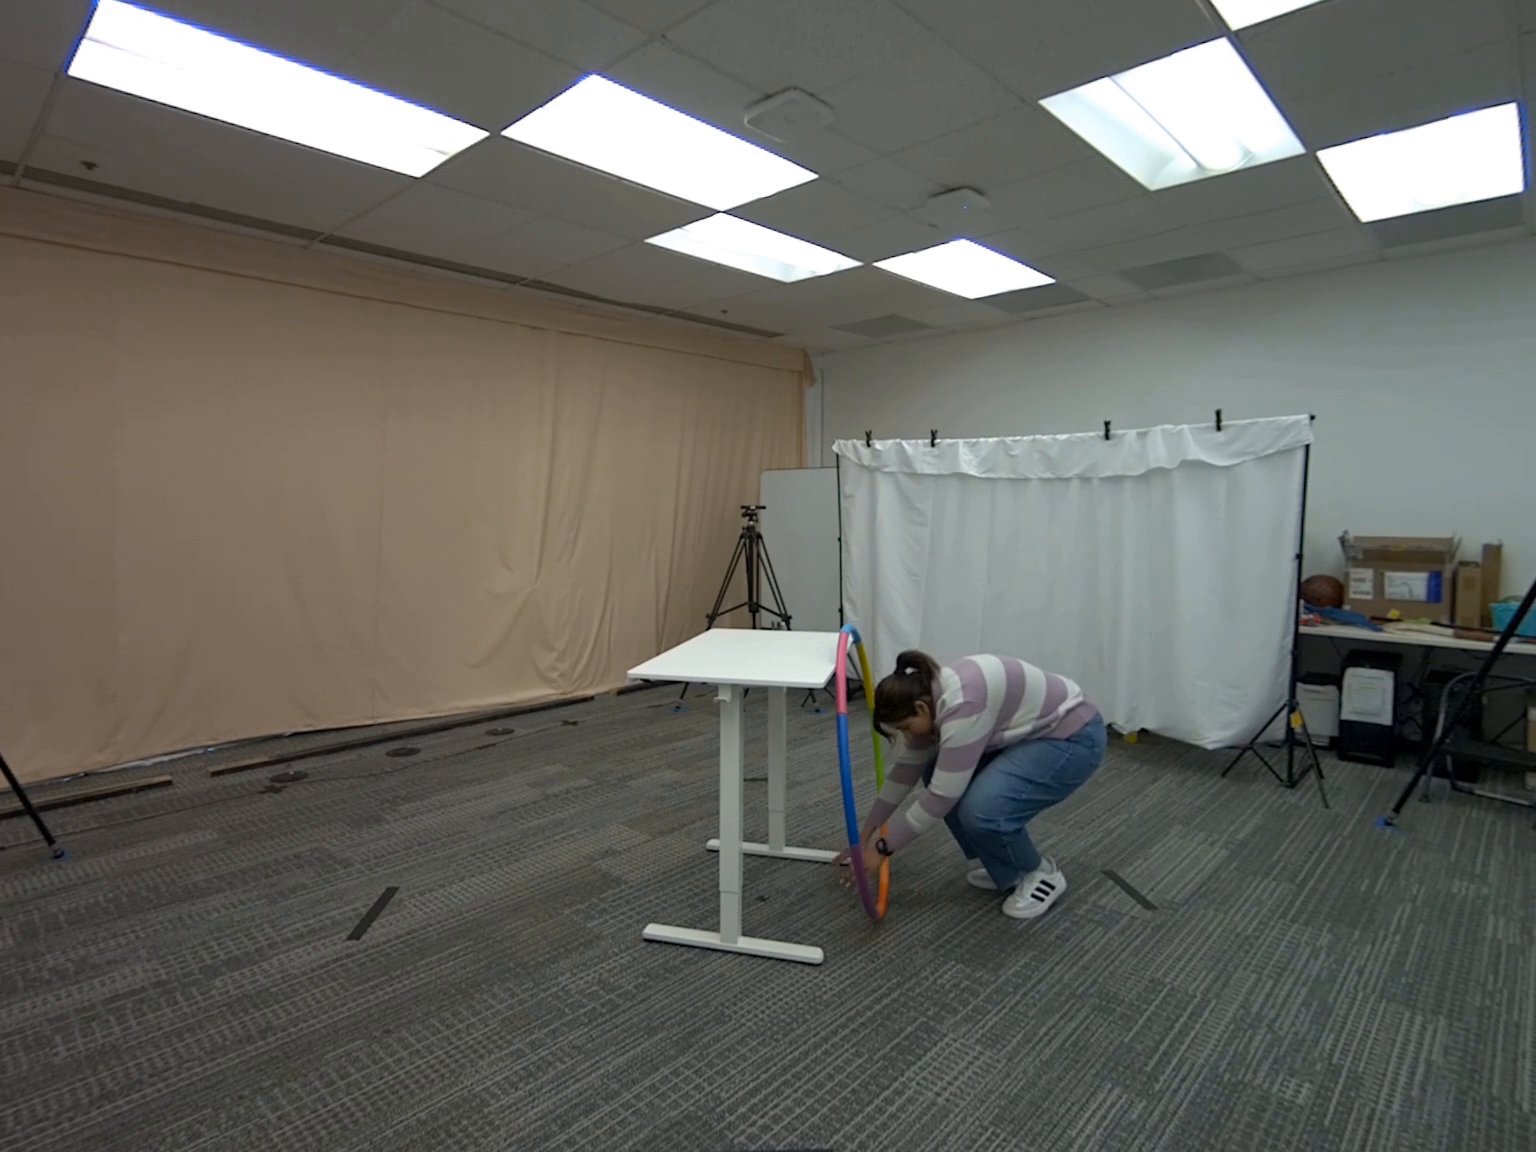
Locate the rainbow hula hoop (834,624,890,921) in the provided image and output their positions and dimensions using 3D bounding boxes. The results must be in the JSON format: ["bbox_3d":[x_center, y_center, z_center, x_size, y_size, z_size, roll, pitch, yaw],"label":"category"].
[{"bbox_3d":[0.341,0.664,2.924,0.036,0.977,0.966,-6,2,12],"label":"rainbow hula hoop"}]
